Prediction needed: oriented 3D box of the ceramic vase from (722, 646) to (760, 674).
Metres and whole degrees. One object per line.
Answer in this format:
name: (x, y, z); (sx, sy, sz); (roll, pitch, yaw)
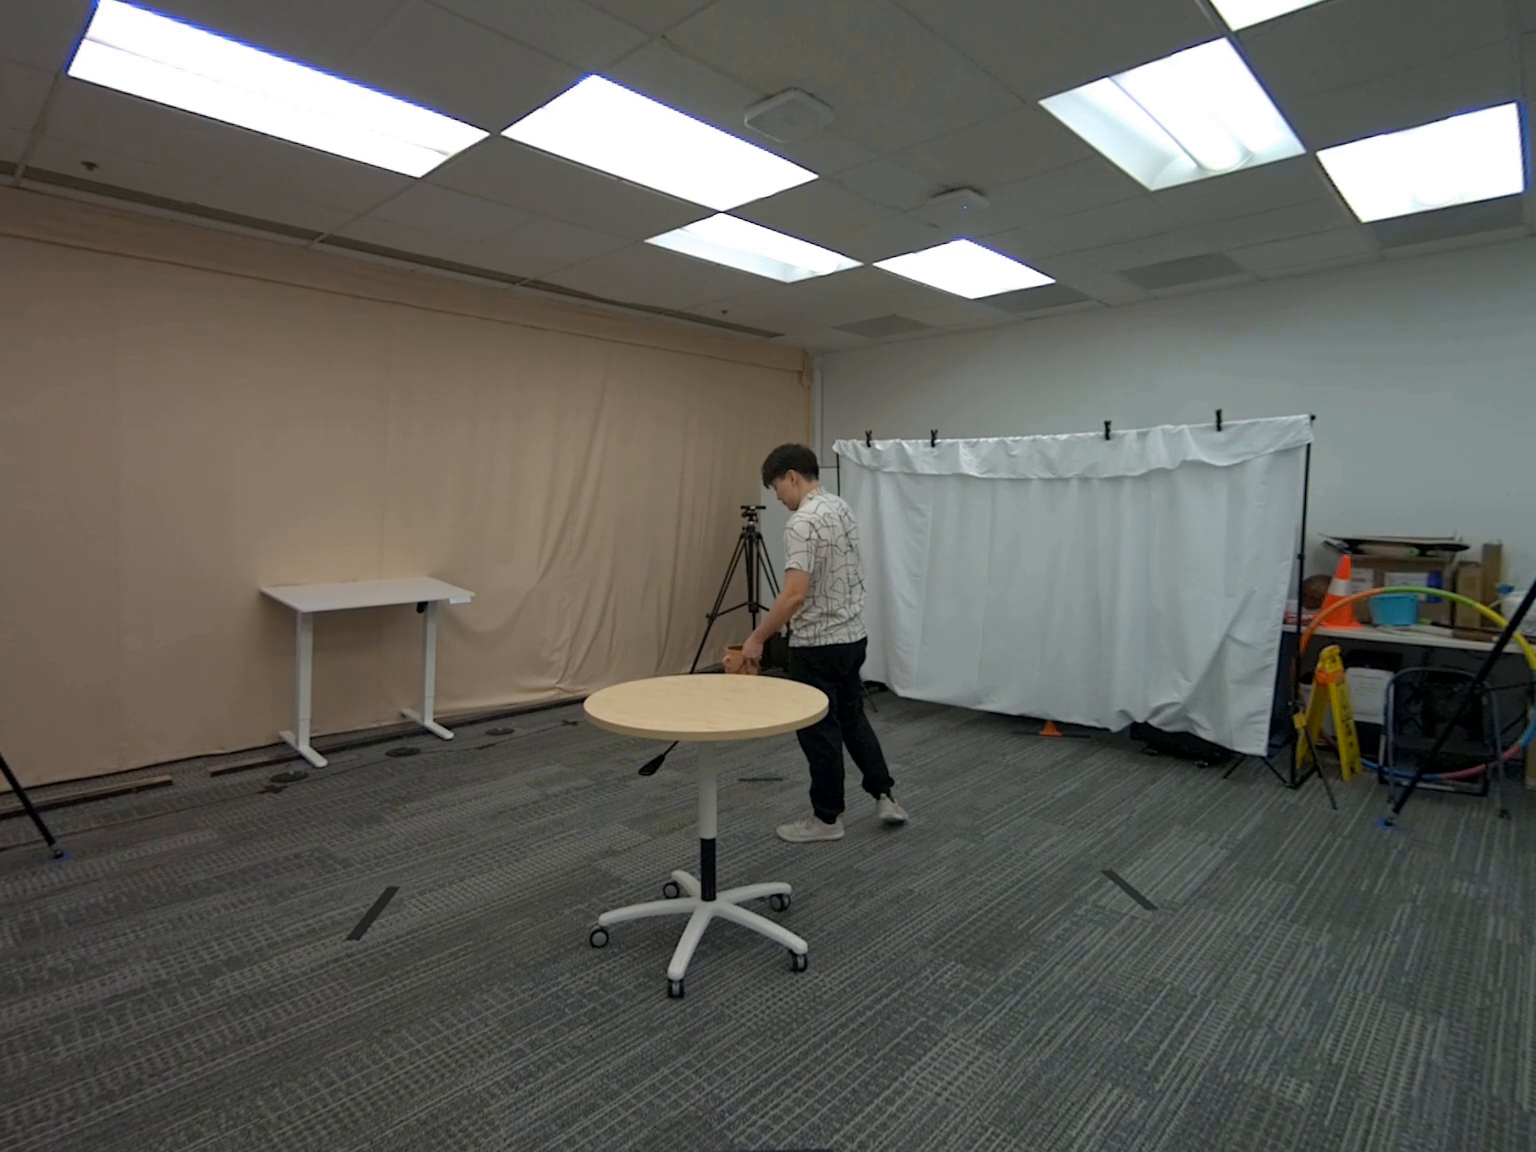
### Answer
ceramic vase: (-0.100, 0.401, 3.434); (0.159, 0.219, 0.135); (-1, 4, 1)
